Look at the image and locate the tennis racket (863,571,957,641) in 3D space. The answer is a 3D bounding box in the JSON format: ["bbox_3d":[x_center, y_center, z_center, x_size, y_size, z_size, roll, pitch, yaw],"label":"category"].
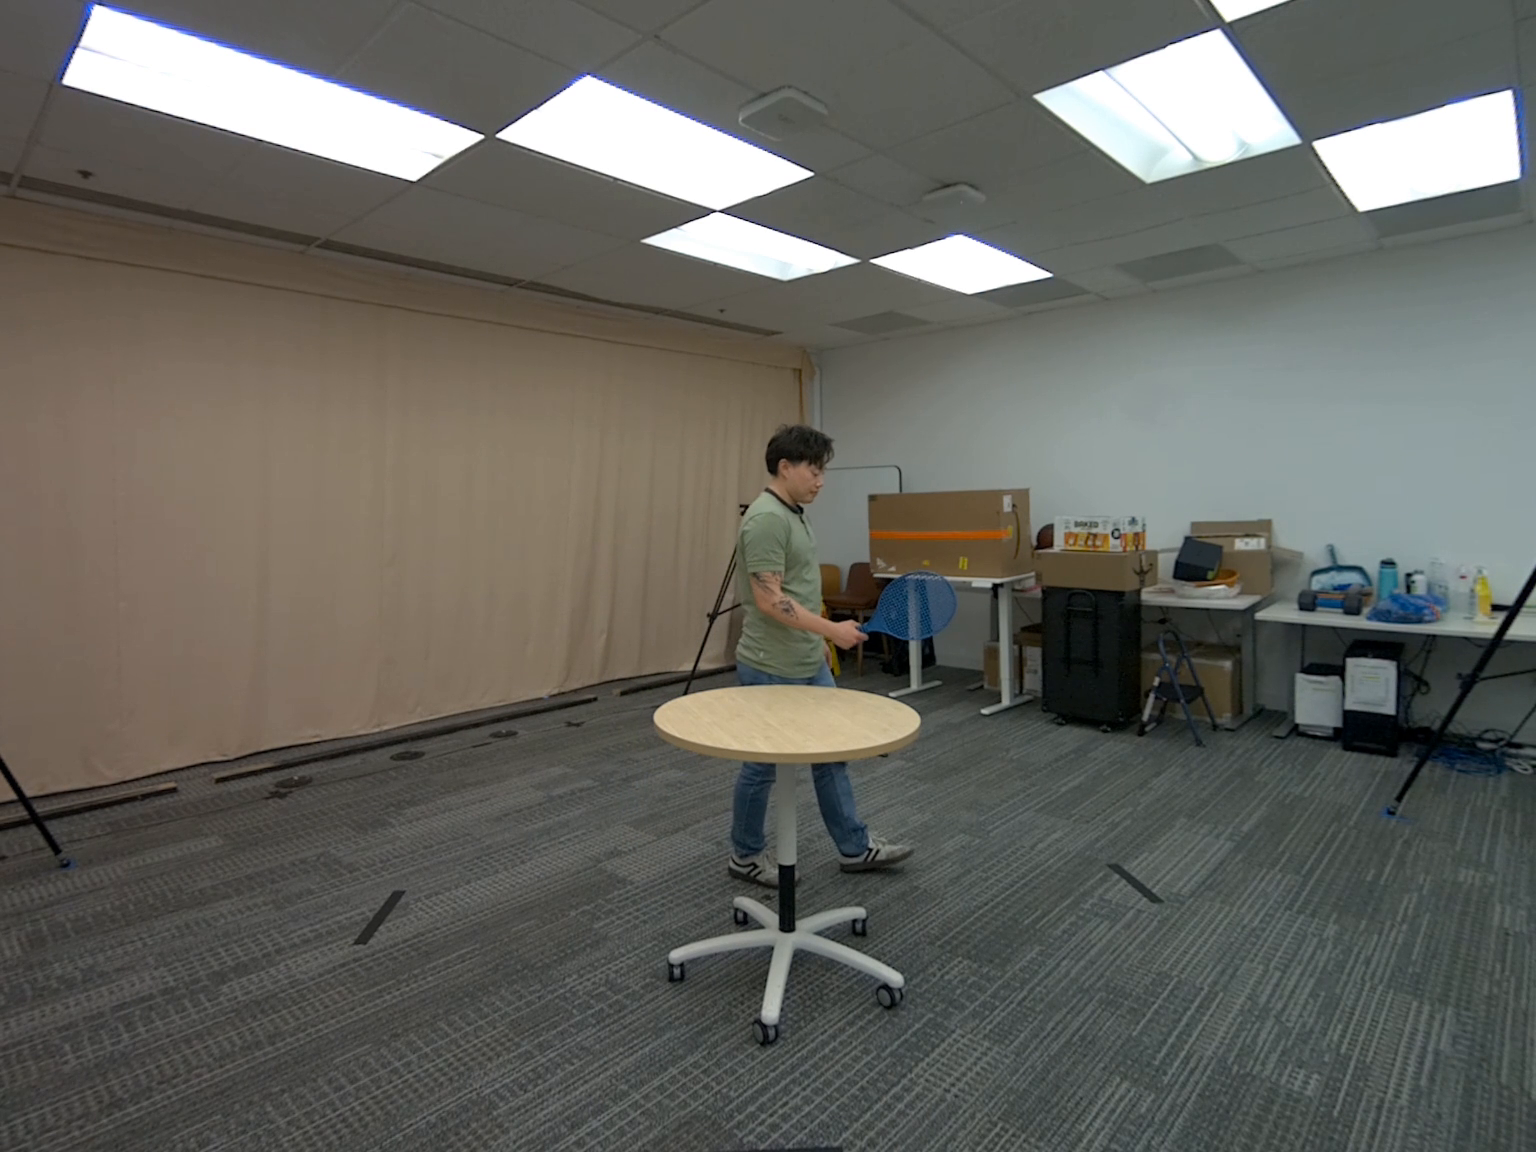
[{"bbox_3d":[0.409,0.127,2.759,0.440,0.215,0.031,-27,-8,26],"label":"tennis racket"}]
